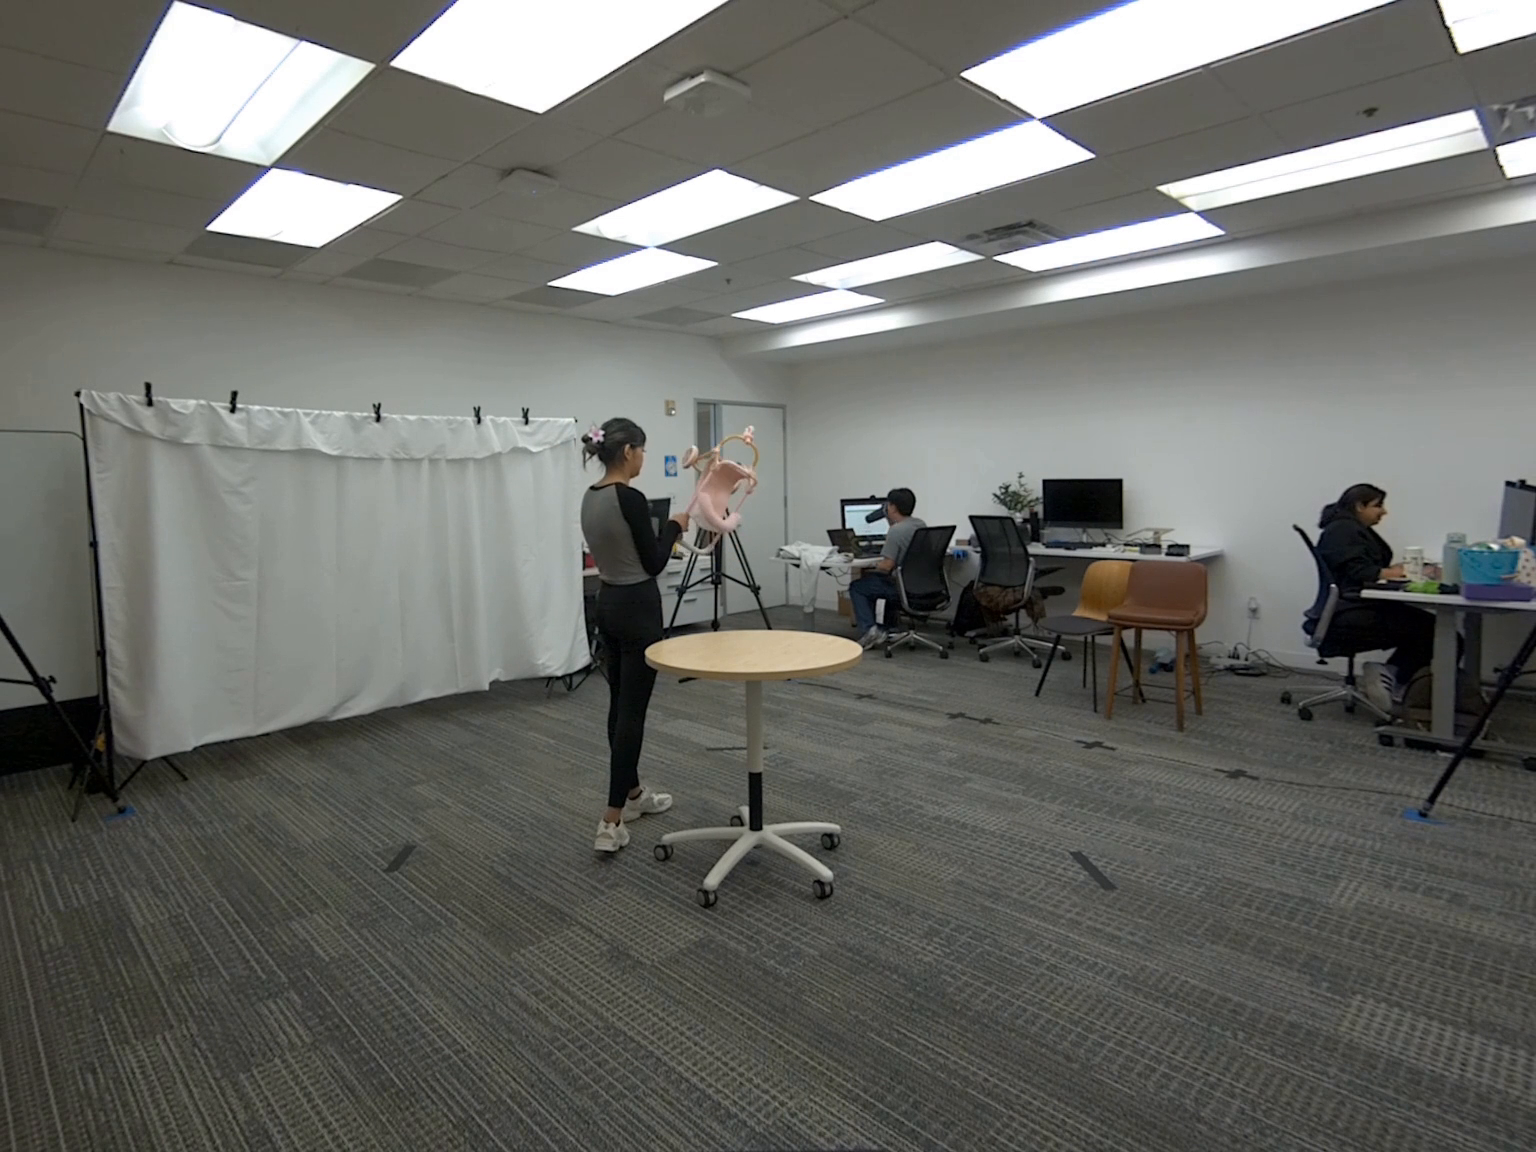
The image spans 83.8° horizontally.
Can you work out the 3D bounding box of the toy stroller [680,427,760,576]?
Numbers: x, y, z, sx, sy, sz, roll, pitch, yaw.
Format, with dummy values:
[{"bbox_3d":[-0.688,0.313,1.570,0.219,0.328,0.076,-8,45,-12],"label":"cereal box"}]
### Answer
[{"bbox_3d":[-0.198,-0.379,3.690,0.272,0.546,0.346,35,-43,-31],"label":"toy stroller"}]
